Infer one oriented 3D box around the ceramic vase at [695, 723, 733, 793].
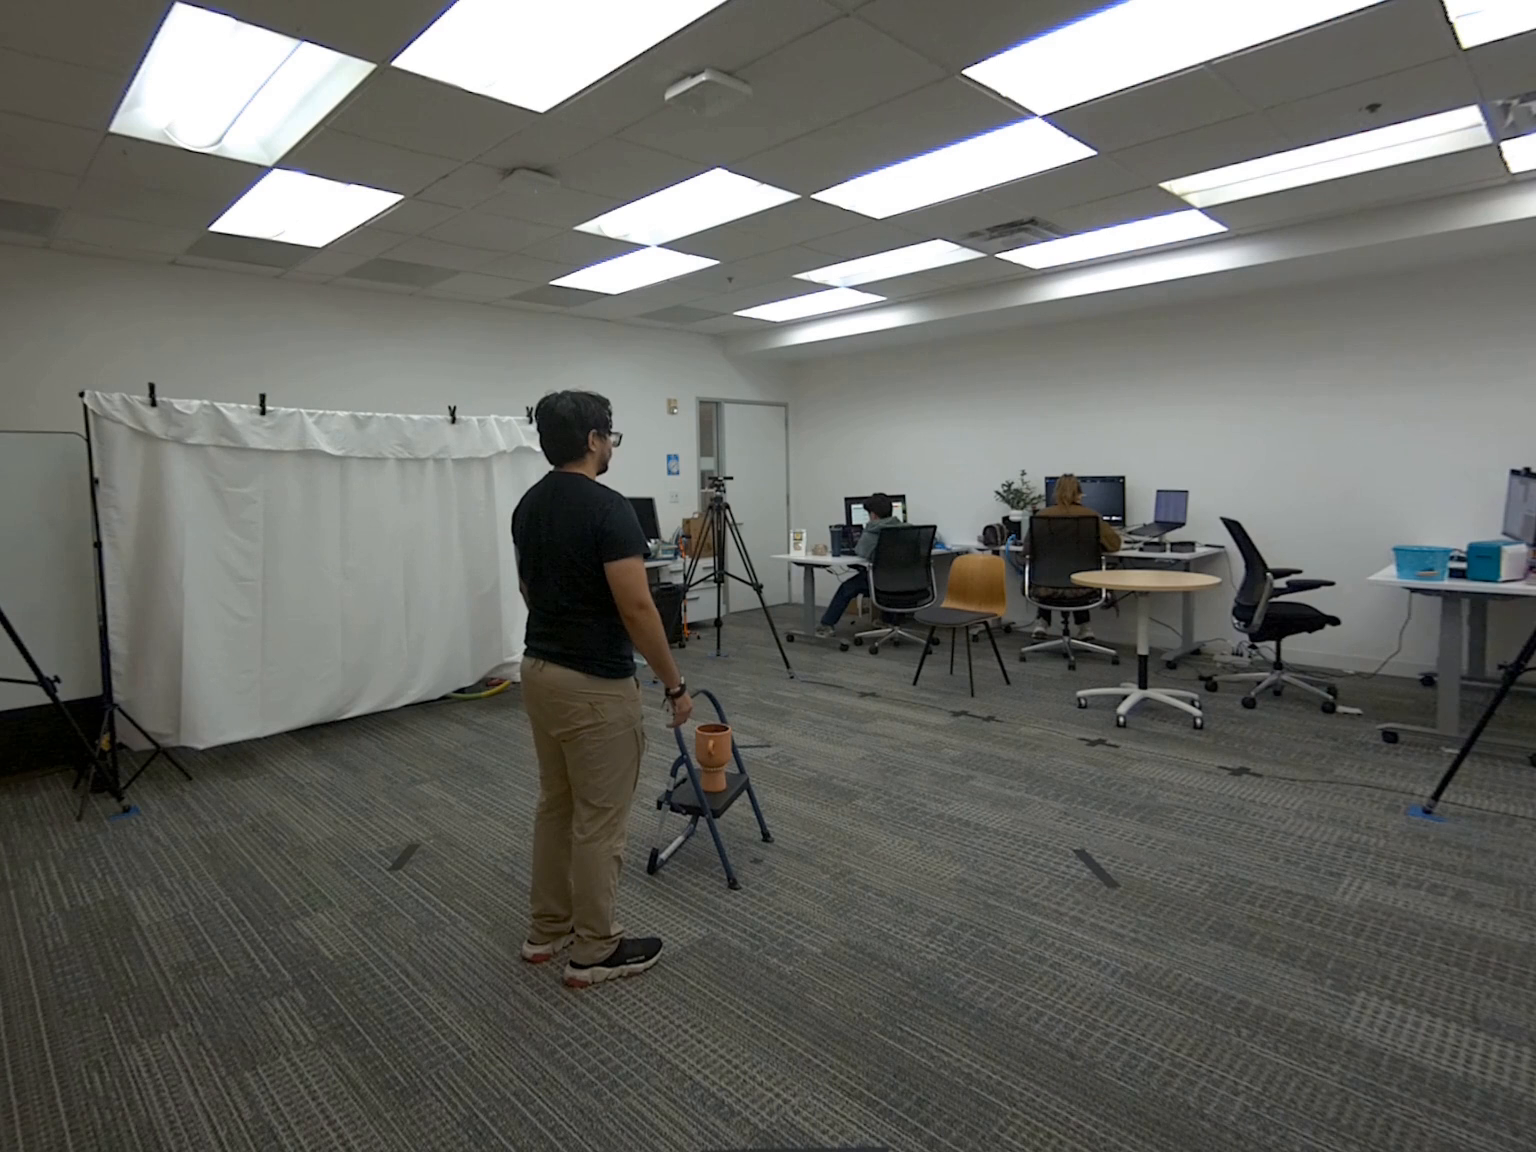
[{"bbox_3d":[-0.196,0.667,3.122,0.139,0.219,0.154,5,7,43],"label":"ceramic vase"}]
